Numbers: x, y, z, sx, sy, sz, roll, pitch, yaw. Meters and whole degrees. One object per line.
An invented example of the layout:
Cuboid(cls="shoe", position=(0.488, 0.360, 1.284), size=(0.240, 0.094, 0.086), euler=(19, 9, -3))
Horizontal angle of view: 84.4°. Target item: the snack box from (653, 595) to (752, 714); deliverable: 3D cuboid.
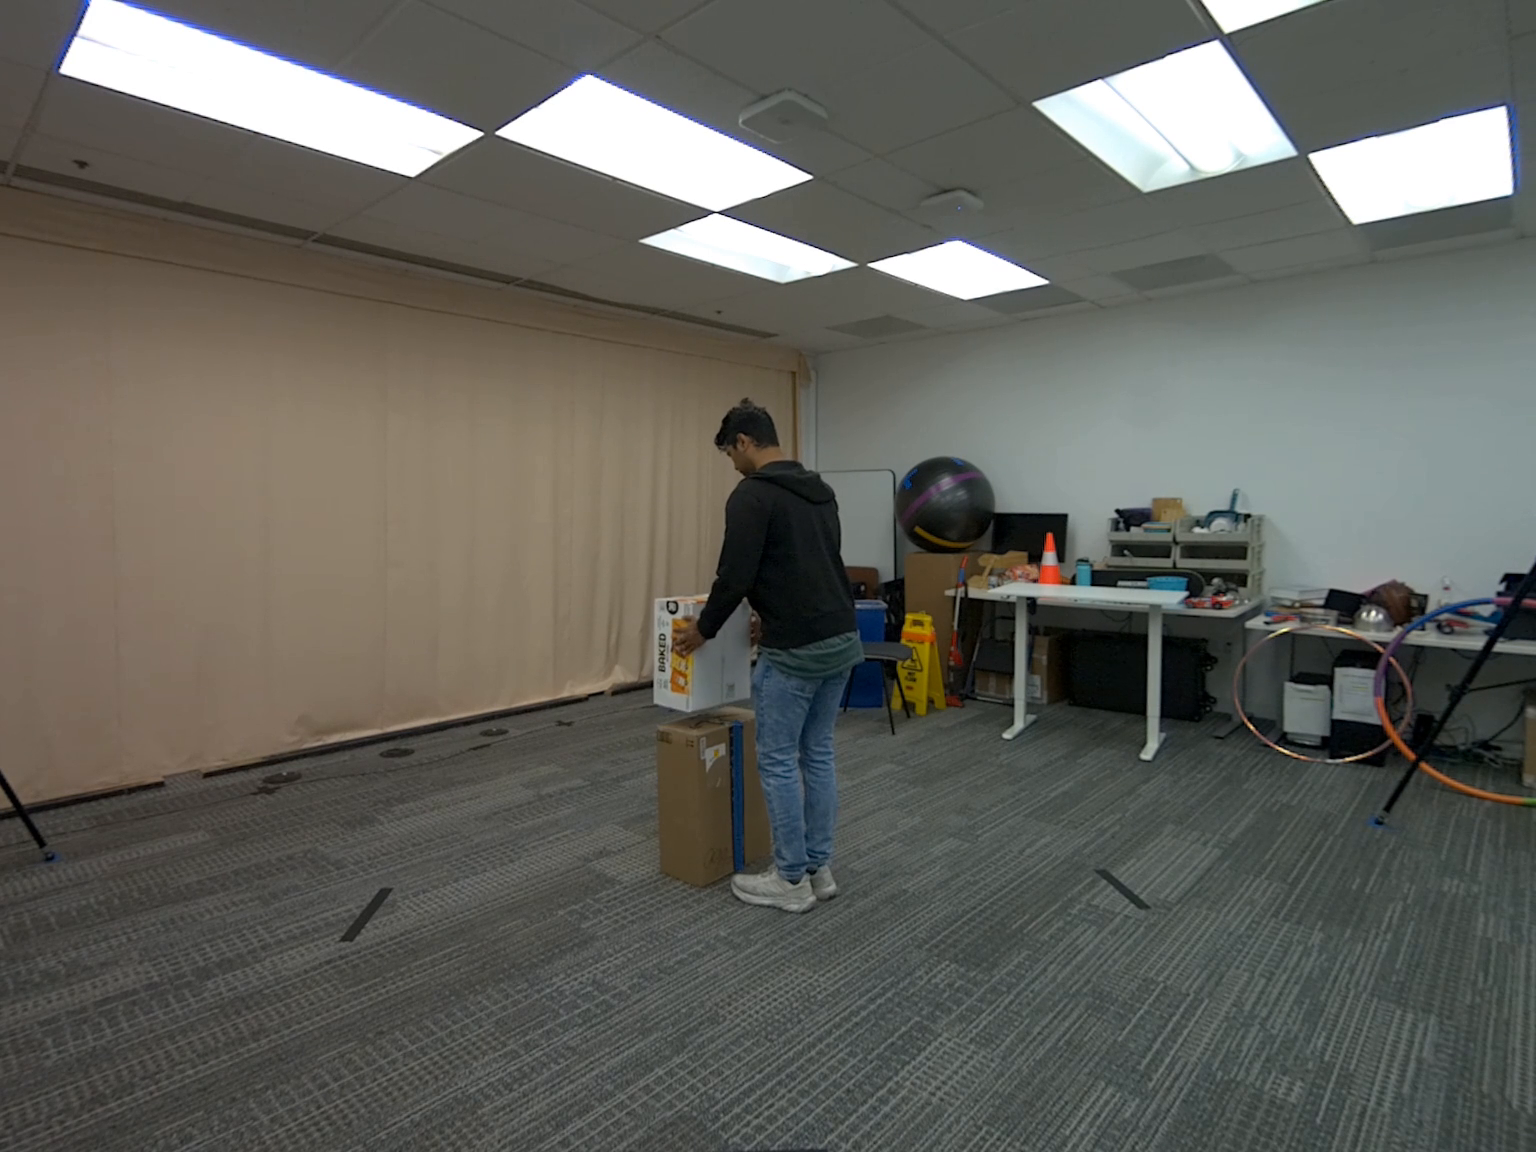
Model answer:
Cuboid(cls="snack box", position=(-0.244, 0.275, 3.260), size=(0.212, 0.404, 0.330), euler=(2, 4, 42))
